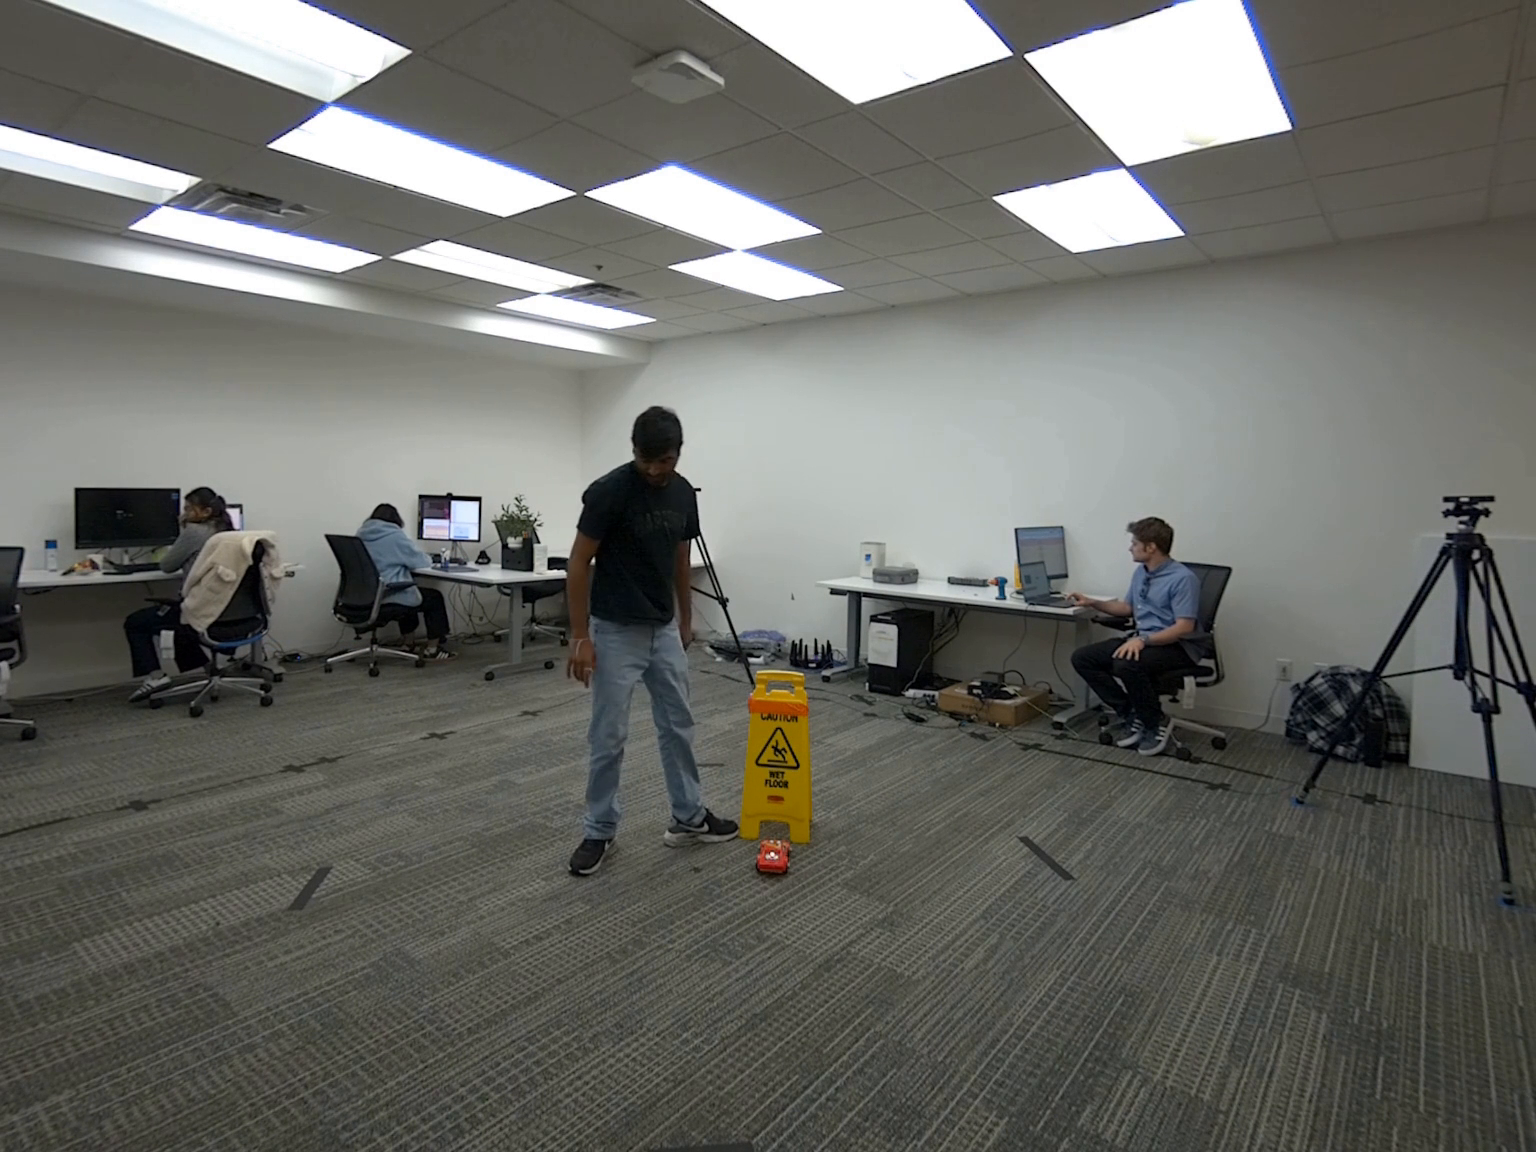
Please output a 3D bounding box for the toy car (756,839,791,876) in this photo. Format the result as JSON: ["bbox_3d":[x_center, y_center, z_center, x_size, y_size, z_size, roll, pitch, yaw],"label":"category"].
[{"bbox_3d":[0.012,1.036,3.148,0.131,0.084,0.250,1,-7,6],"label":"toy car"}]
